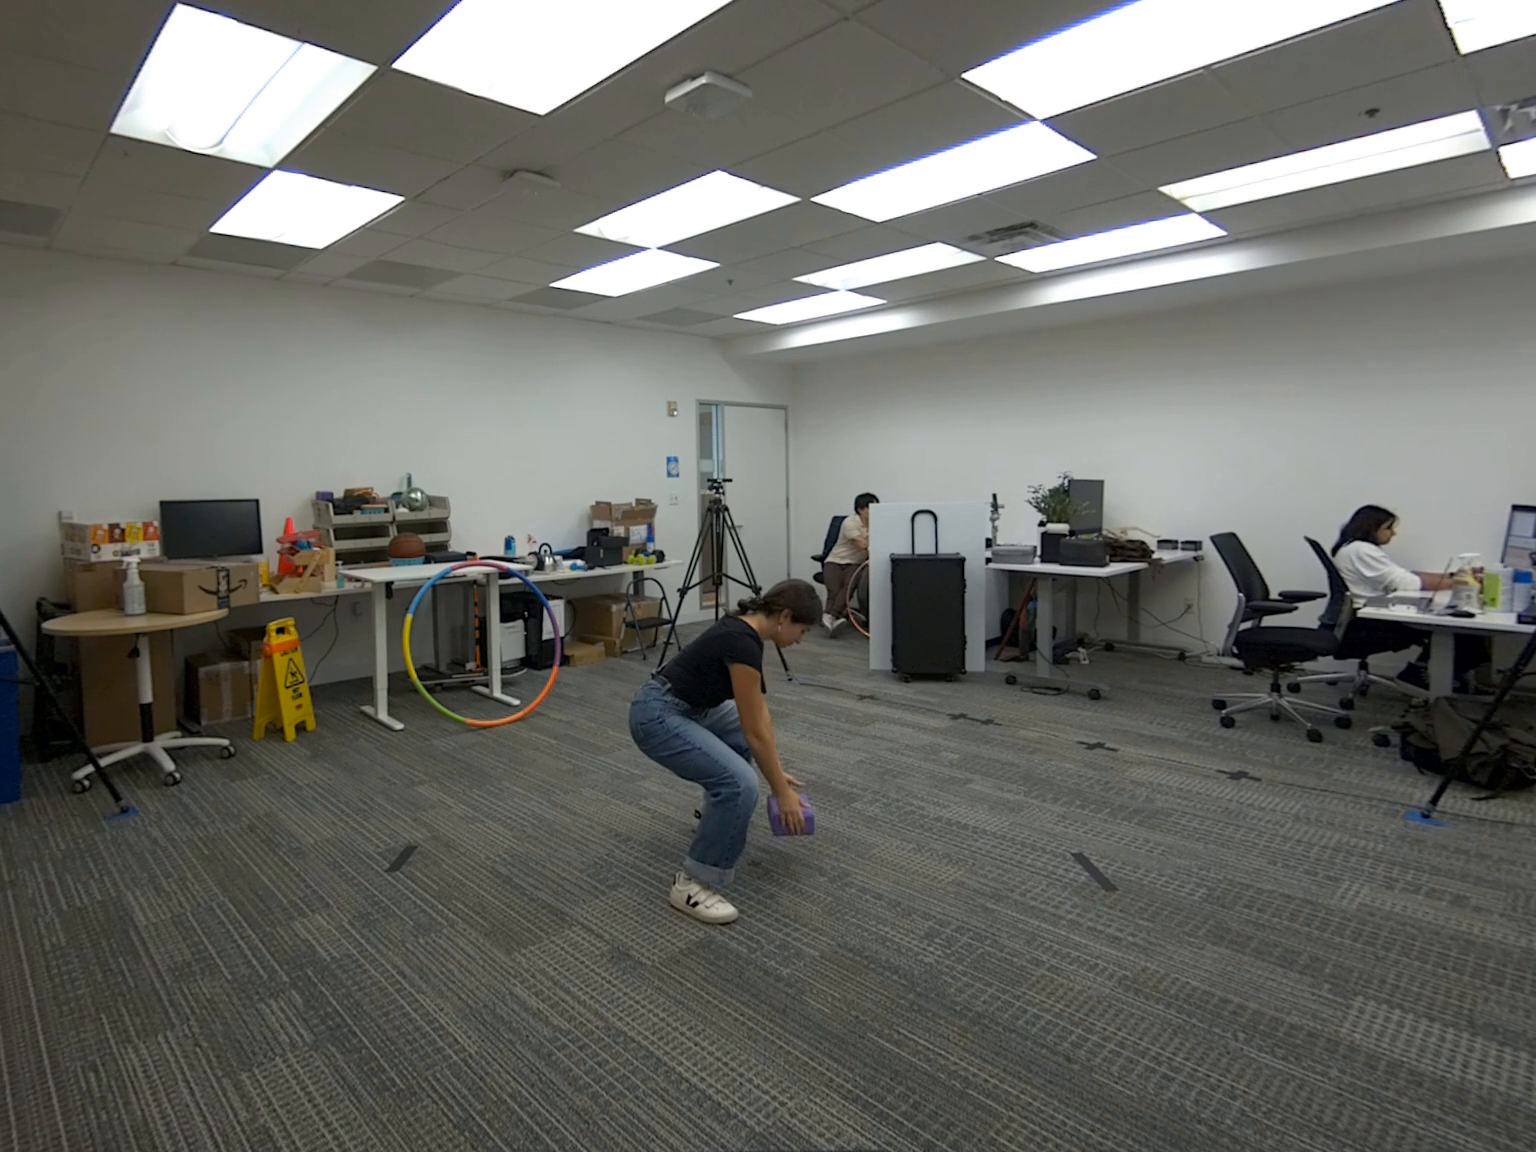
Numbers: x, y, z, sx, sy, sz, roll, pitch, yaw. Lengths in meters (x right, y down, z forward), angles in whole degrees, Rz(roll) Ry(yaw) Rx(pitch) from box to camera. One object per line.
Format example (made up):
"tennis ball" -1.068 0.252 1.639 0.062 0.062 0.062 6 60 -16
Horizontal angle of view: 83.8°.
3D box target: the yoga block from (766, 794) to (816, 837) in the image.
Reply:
"yoga block" 0.084 0.846 3.080 0.149 0.076 0.230 -1 5 -3
